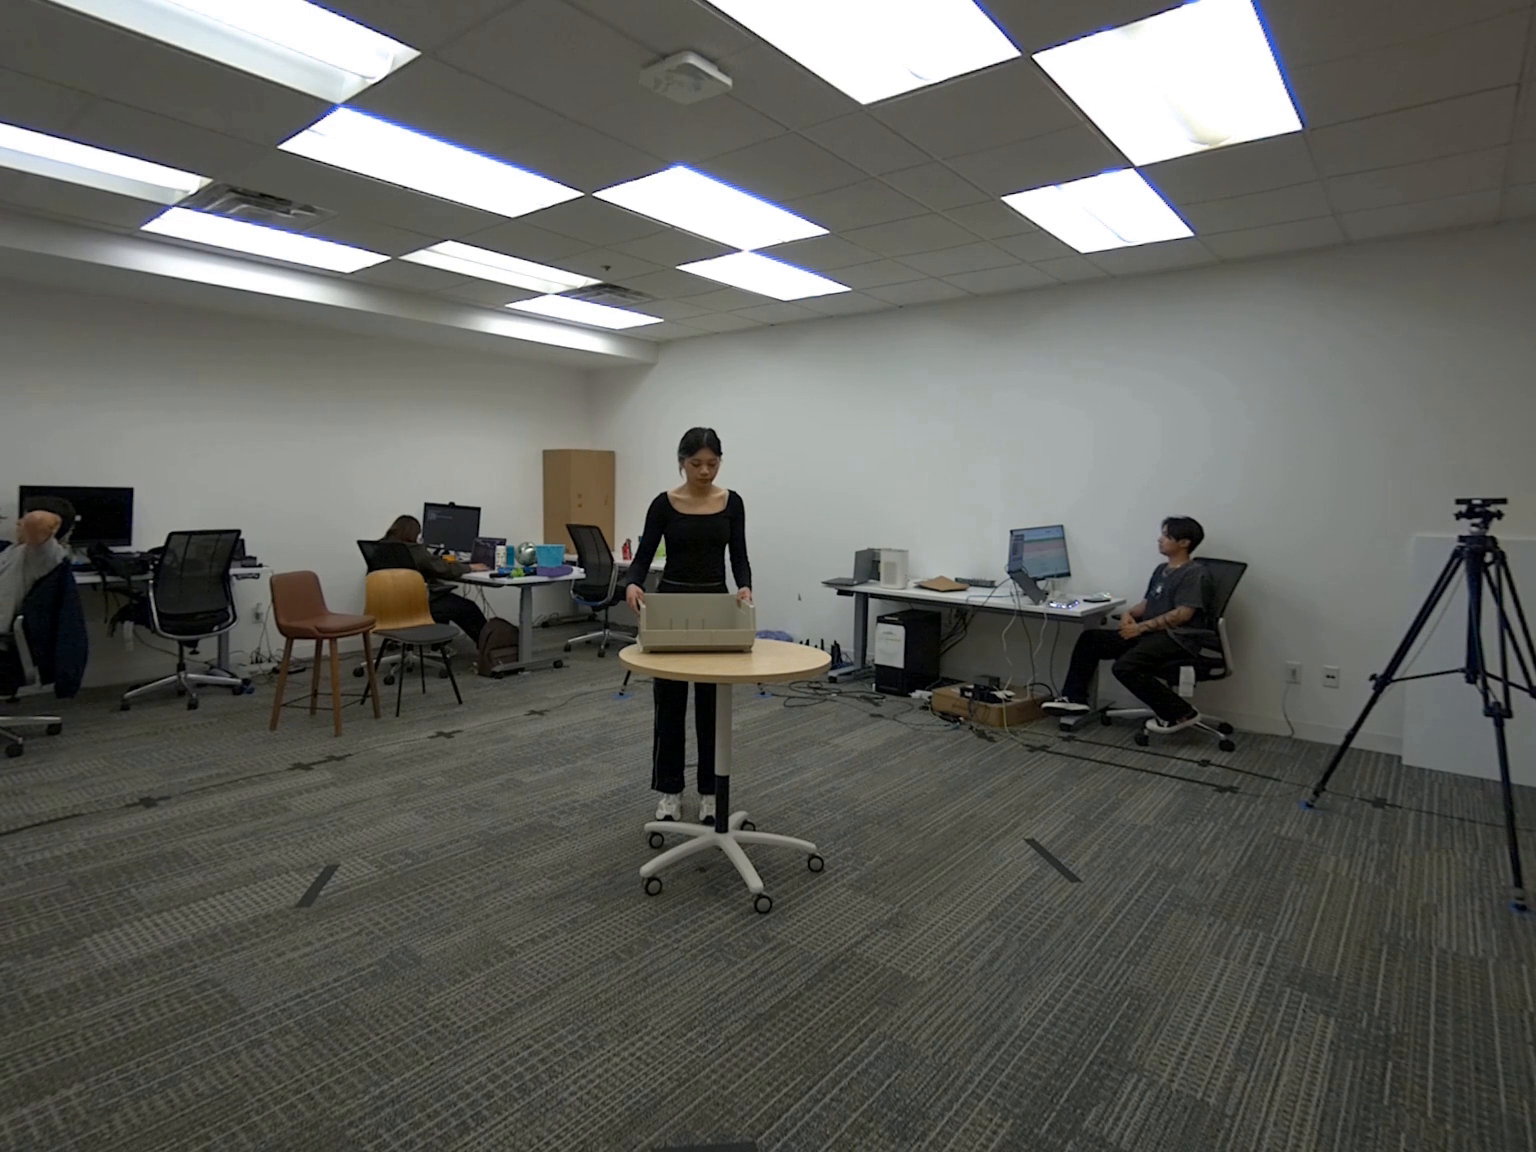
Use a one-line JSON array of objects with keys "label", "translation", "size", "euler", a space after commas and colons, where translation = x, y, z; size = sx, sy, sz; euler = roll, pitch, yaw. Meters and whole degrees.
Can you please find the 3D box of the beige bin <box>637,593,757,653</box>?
[{"label": "beige bin", "translation": [-0.291, 0.174, 3.226], "size": [0.419, 0.188, 0.382], "euler": [-1, 5, -8]}]
